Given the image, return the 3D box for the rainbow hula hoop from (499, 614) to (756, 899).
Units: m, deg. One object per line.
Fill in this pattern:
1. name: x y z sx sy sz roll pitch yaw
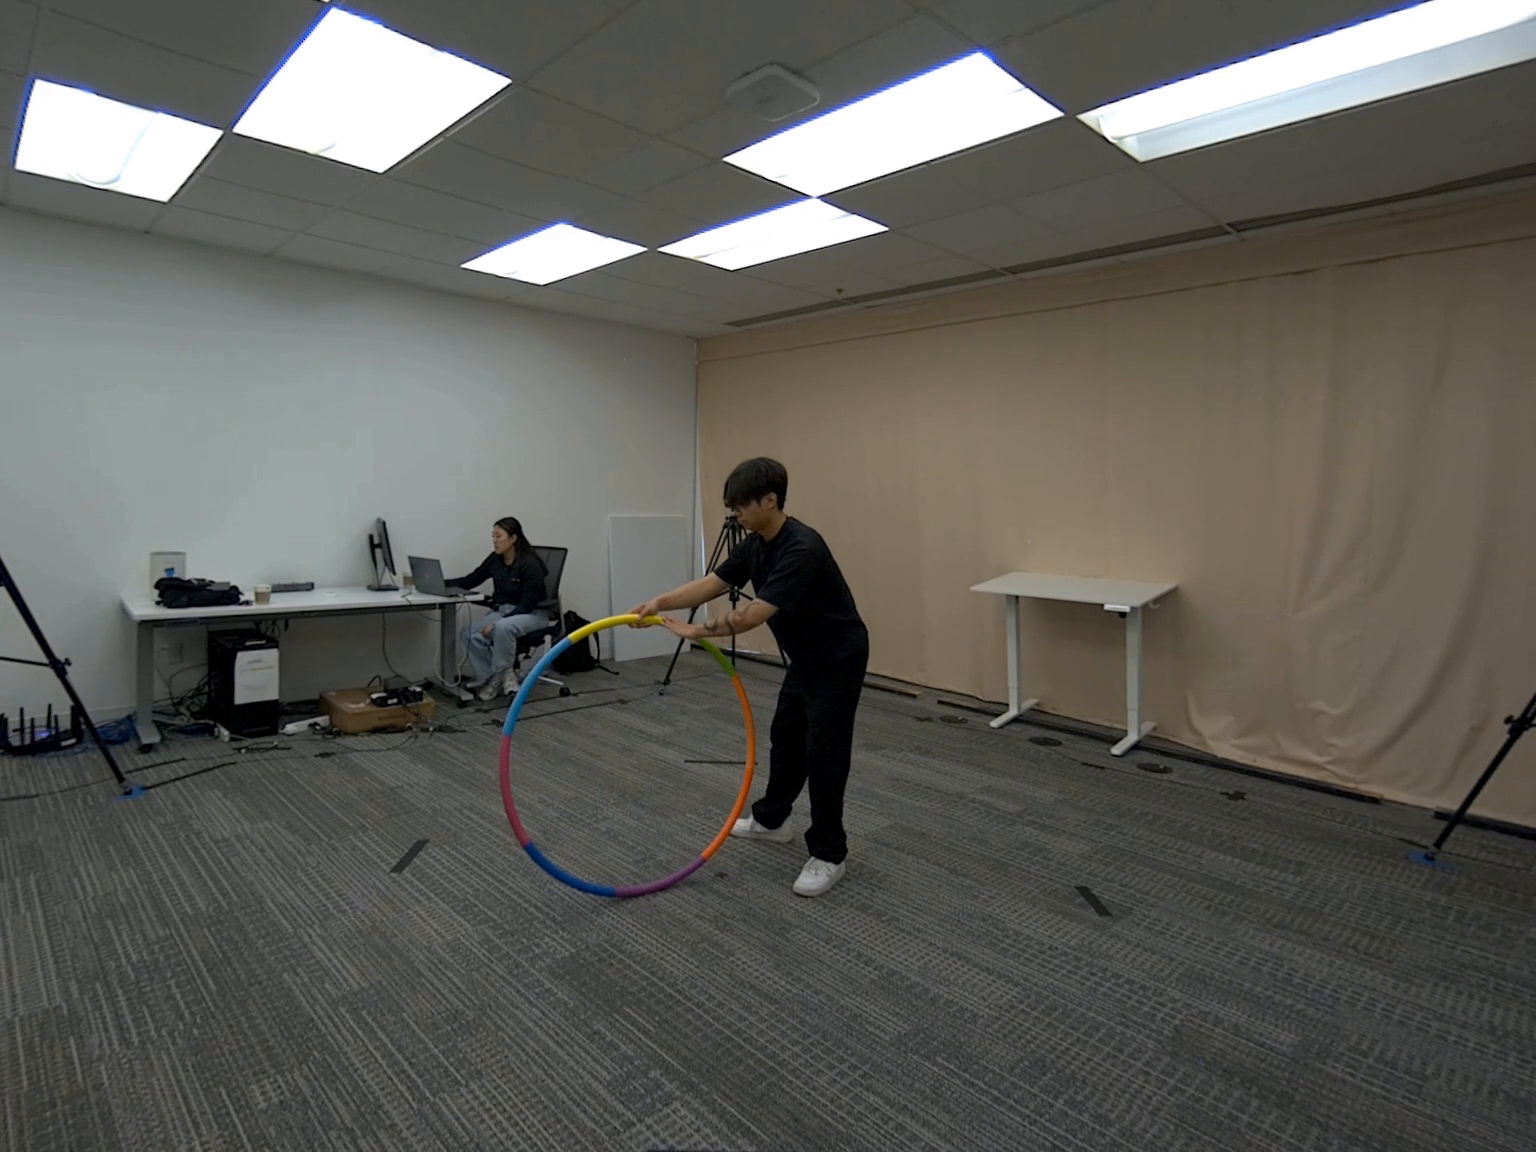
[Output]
1. rainbow hula hoop: -0.469 0.634 2.983 0.958 0.982 0.036 -1 -5 -33
